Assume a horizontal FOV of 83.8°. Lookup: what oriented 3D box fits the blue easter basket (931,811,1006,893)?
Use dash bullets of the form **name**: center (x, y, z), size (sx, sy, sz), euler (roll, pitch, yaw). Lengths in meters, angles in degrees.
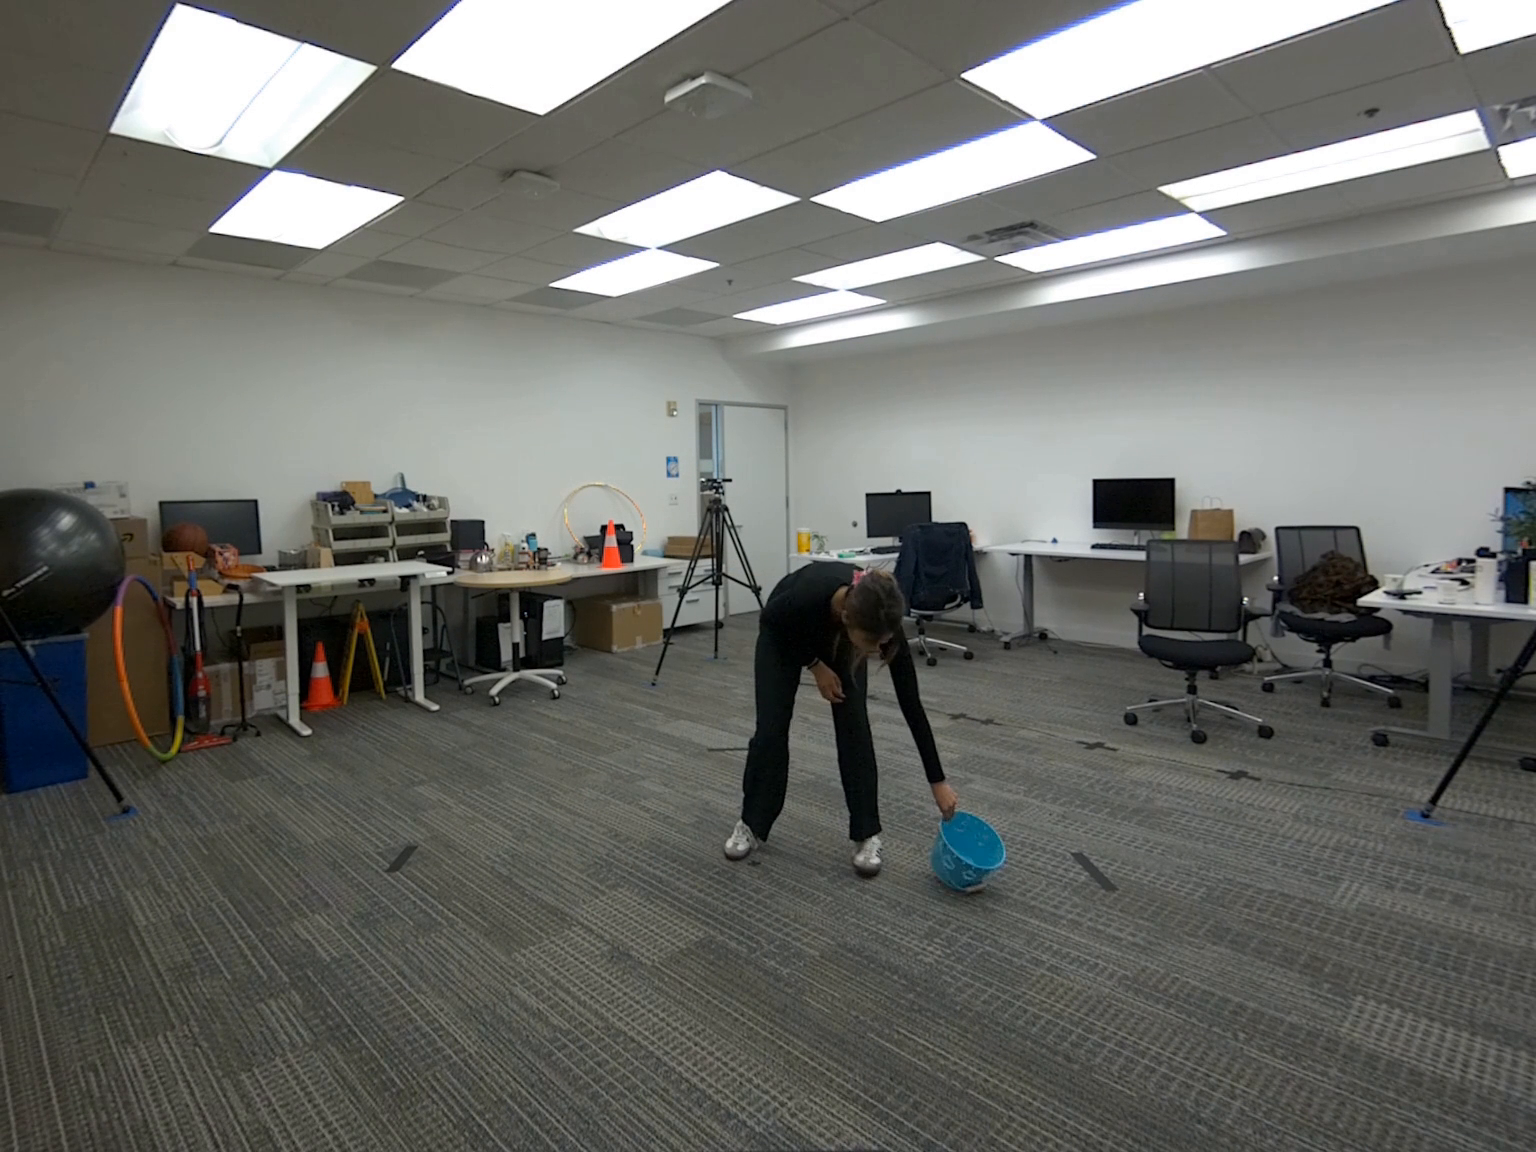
- **blue easter basket**: center (0.663, 0.945, 2.908), size (0.242, 0.153, 0.249), euler (10, 30, -7)
